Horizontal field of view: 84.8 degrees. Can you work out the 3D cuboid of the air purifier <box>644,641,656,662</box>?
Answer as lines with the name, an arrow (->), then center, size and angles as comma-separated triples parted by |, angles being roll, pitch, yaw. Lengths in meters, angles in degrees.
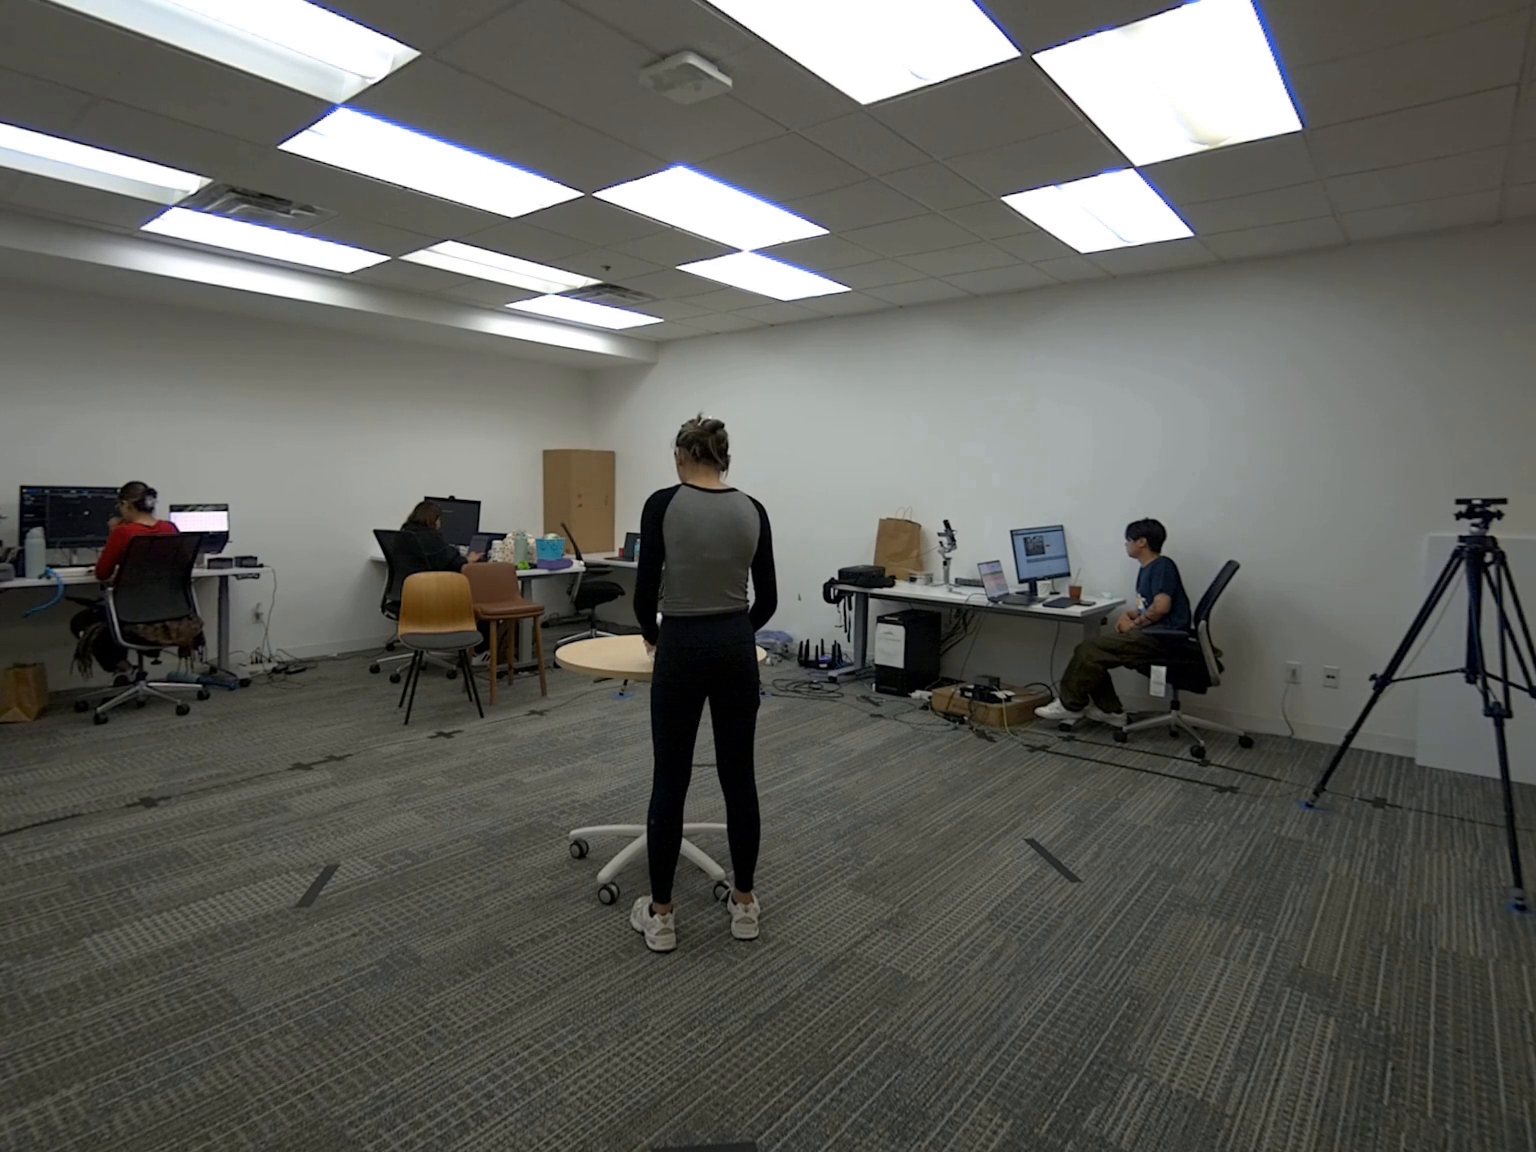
air purifier -> -0.281, 0.206, 2.898 | 0.260, 0.171, 0.175 | -1, 3, -21
